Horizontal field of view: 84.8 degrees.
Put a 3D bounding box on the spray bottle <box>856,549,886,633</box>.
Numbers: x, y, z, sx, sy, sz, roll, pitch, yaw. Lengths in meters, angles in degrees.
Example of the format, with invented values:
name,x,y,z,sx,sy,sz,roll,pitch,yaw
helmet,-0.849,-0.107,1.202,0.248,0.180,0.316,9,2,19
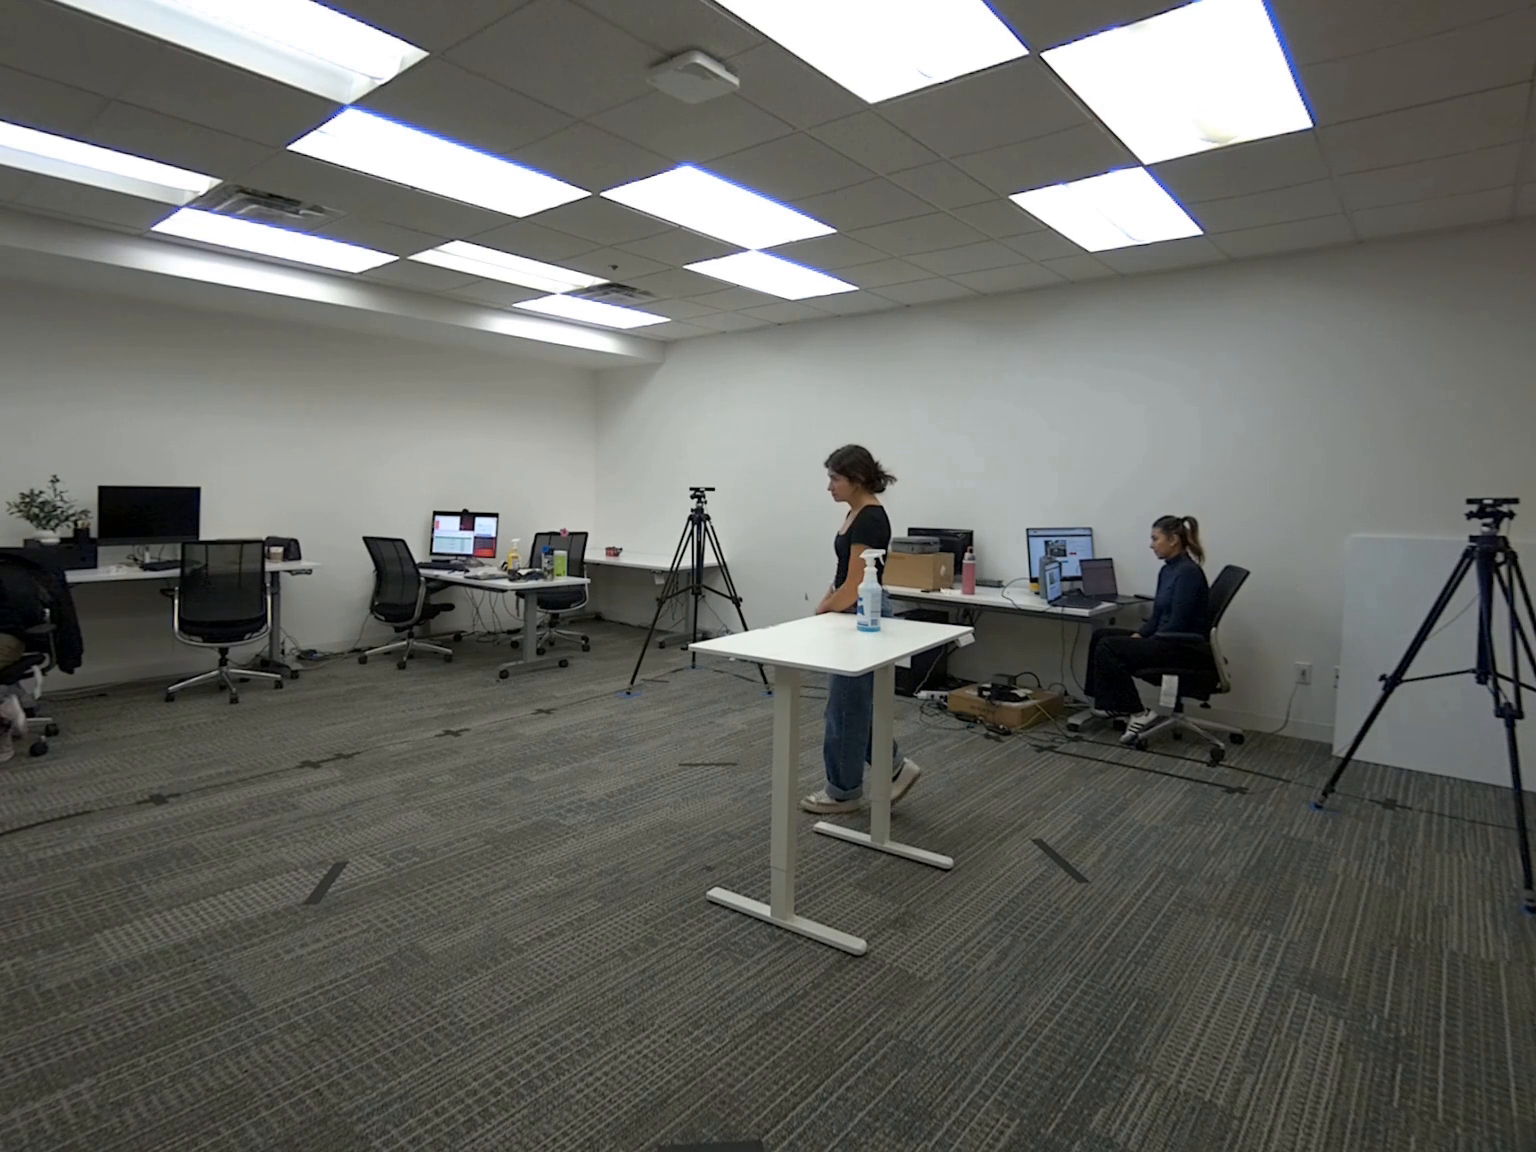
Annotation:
name,x,y,z,sx,sy,sz,roll,pitch,yaw
spray bottle,0.370,0.050,3.104,0.093,0.296,0.084,4,4,42
